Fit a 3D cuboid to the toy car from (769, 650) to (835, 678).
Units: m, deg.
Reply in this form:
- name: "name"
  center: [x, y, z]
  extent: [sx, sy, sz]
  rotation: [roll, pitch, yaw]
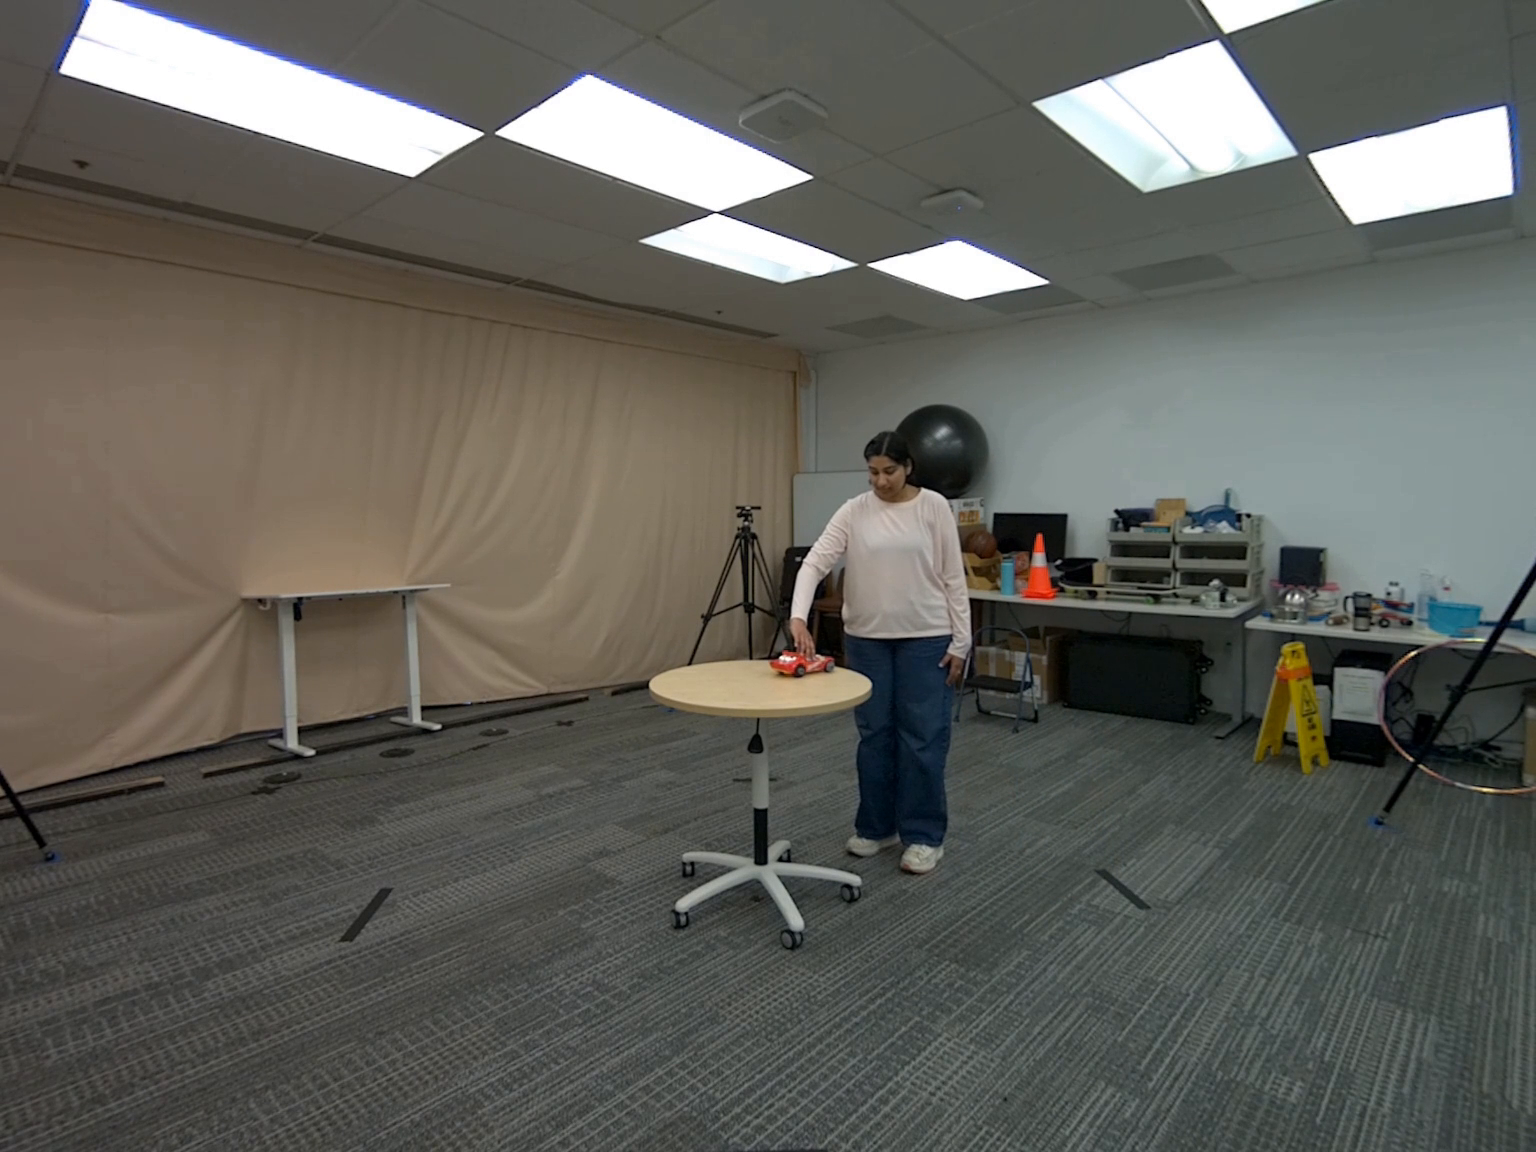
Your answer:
- name: "toy car"
  center: [0.116, 0.322, 3.039]
  extent: [0.246, 0.083, 0.134]
  rotation: [9, -1, -36]
